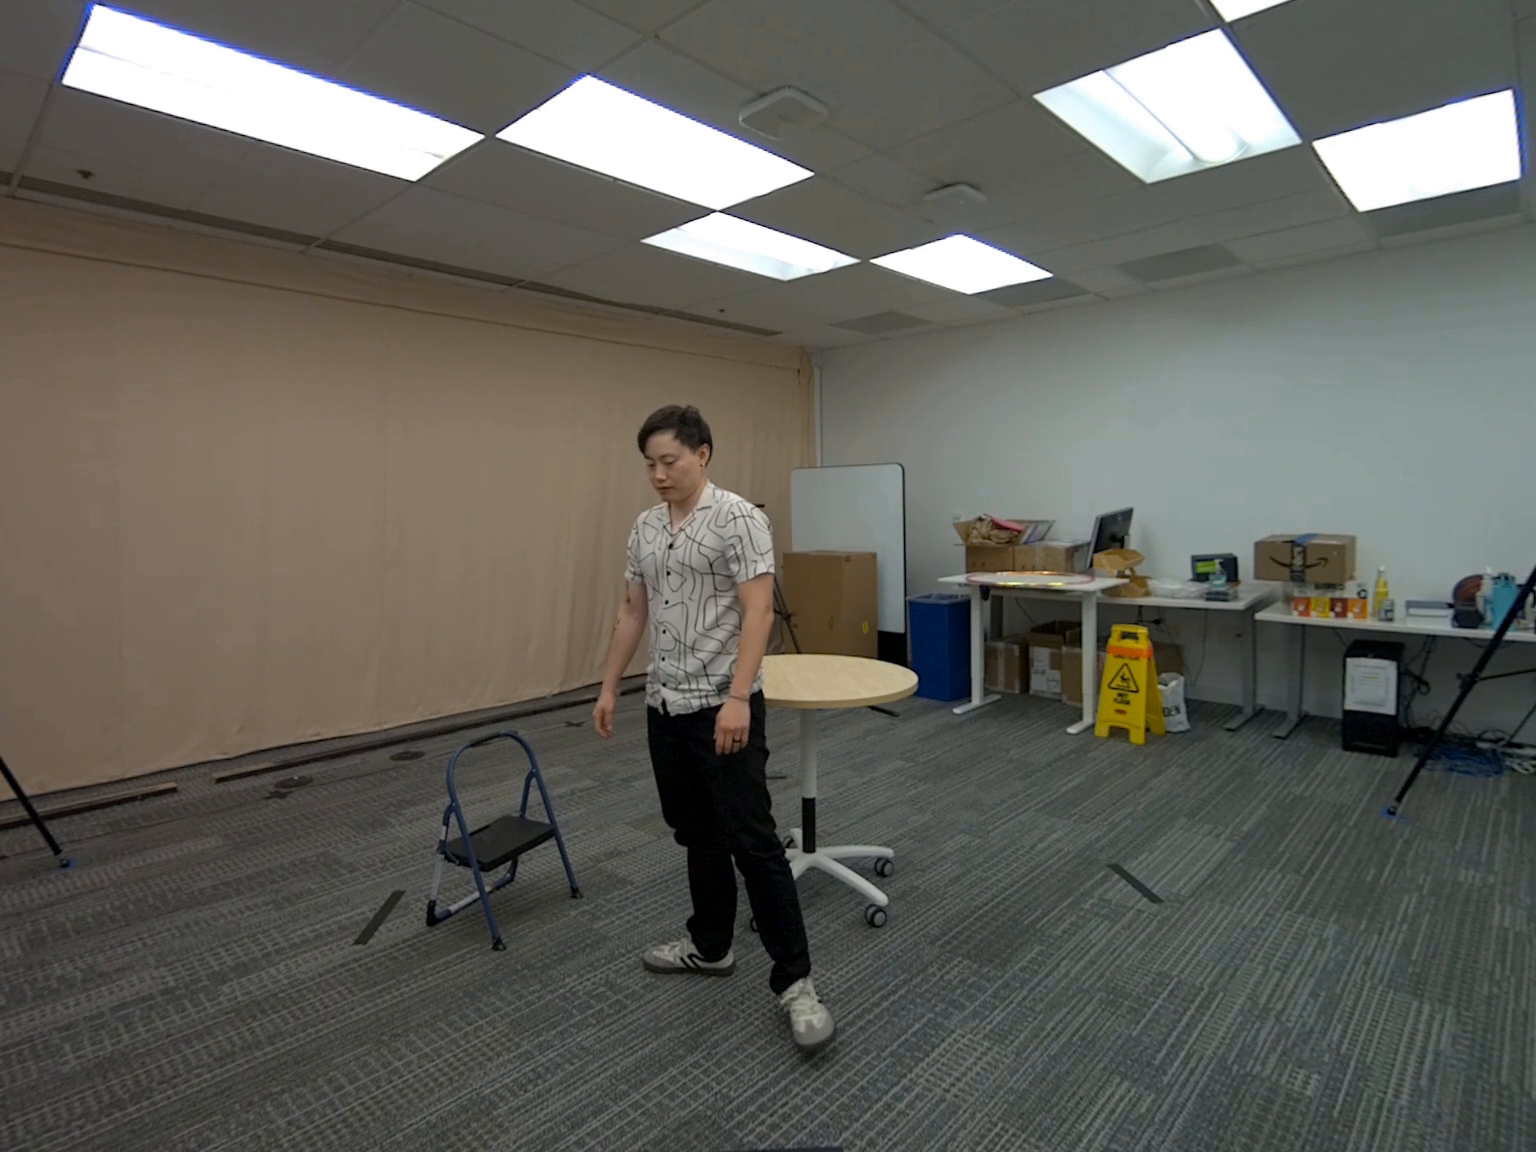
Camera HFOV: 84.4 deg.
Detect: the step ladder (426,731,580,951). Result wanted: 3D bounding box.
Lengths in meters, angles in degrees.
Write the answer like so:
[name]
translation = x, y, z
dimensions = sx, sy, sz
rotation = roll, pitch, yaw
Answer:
[step ladder]
translation = -0.919, 0.865, 2.912
dimensions = 0.359, 0.605, 0.420
rotation = 0, 4, 27
